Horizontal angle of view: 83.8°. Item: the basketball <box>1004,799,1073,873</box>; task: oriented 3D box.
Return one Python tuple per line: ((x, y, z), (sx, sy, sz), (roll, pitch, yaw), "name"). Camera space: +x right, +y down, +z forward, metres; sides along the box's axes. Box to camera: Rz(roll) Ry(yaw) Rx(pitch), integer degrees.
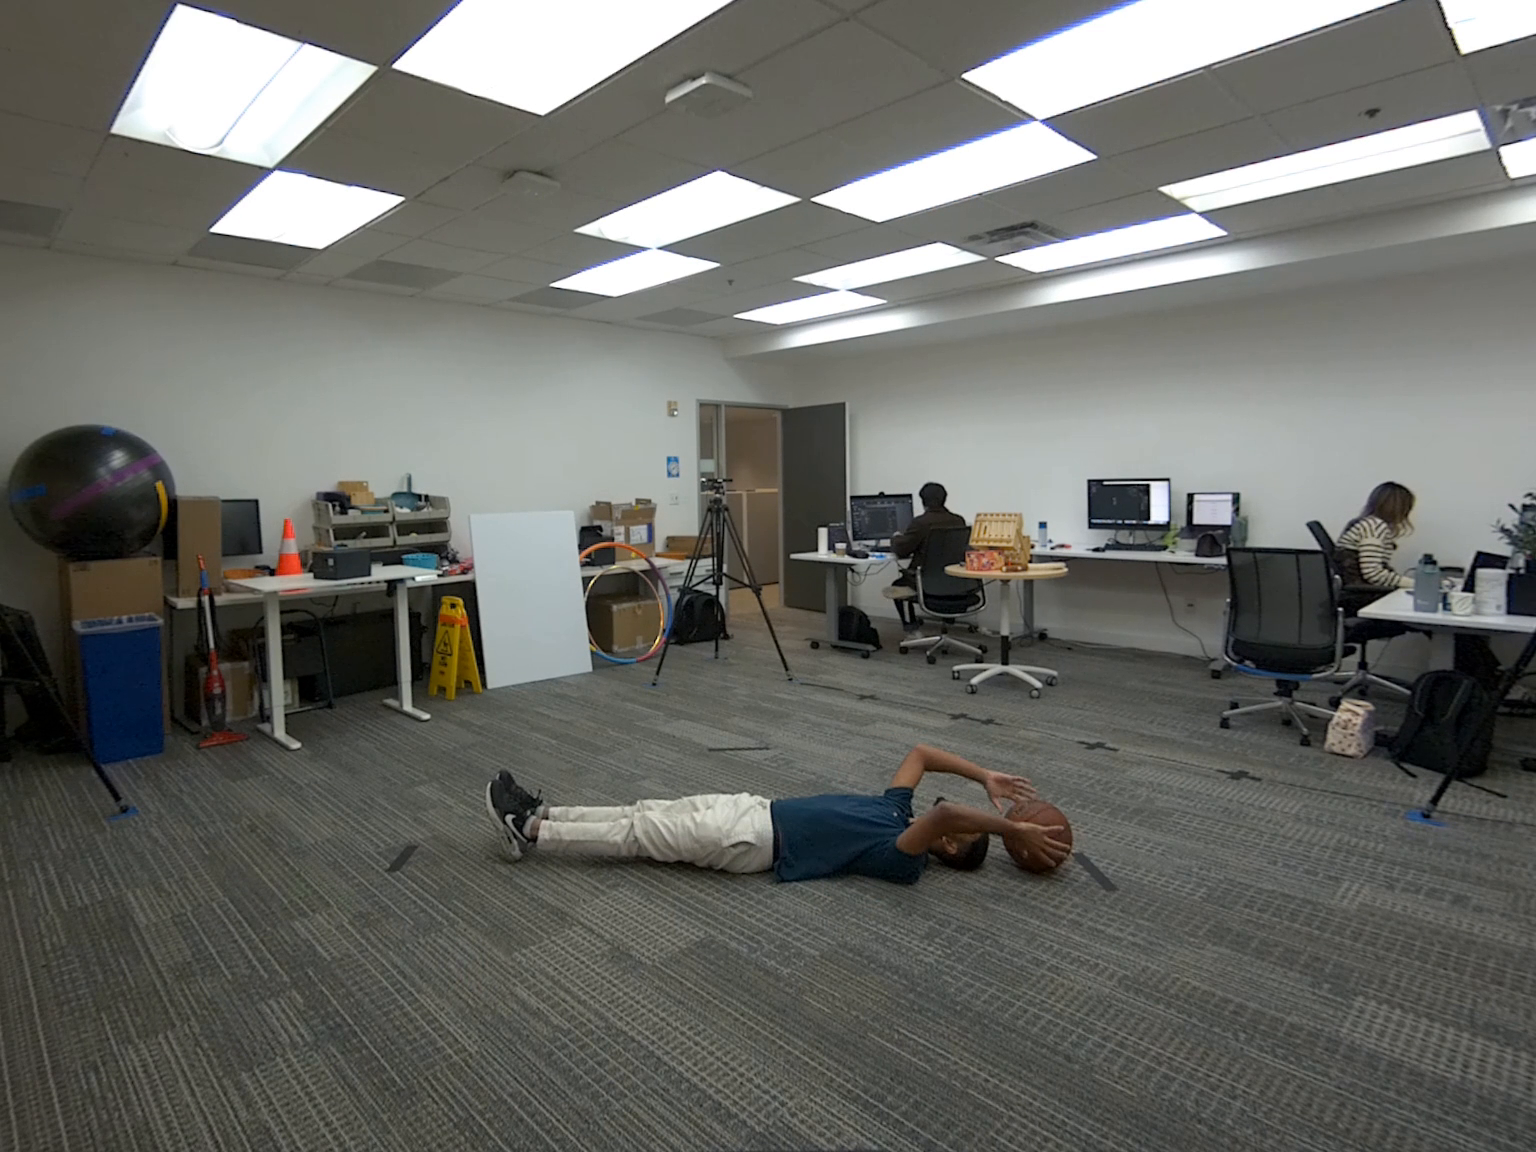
((0.958, 0.914, 3.032), (0.236, 0.235, 0.237), (-1, 5, -2), "basketball")
